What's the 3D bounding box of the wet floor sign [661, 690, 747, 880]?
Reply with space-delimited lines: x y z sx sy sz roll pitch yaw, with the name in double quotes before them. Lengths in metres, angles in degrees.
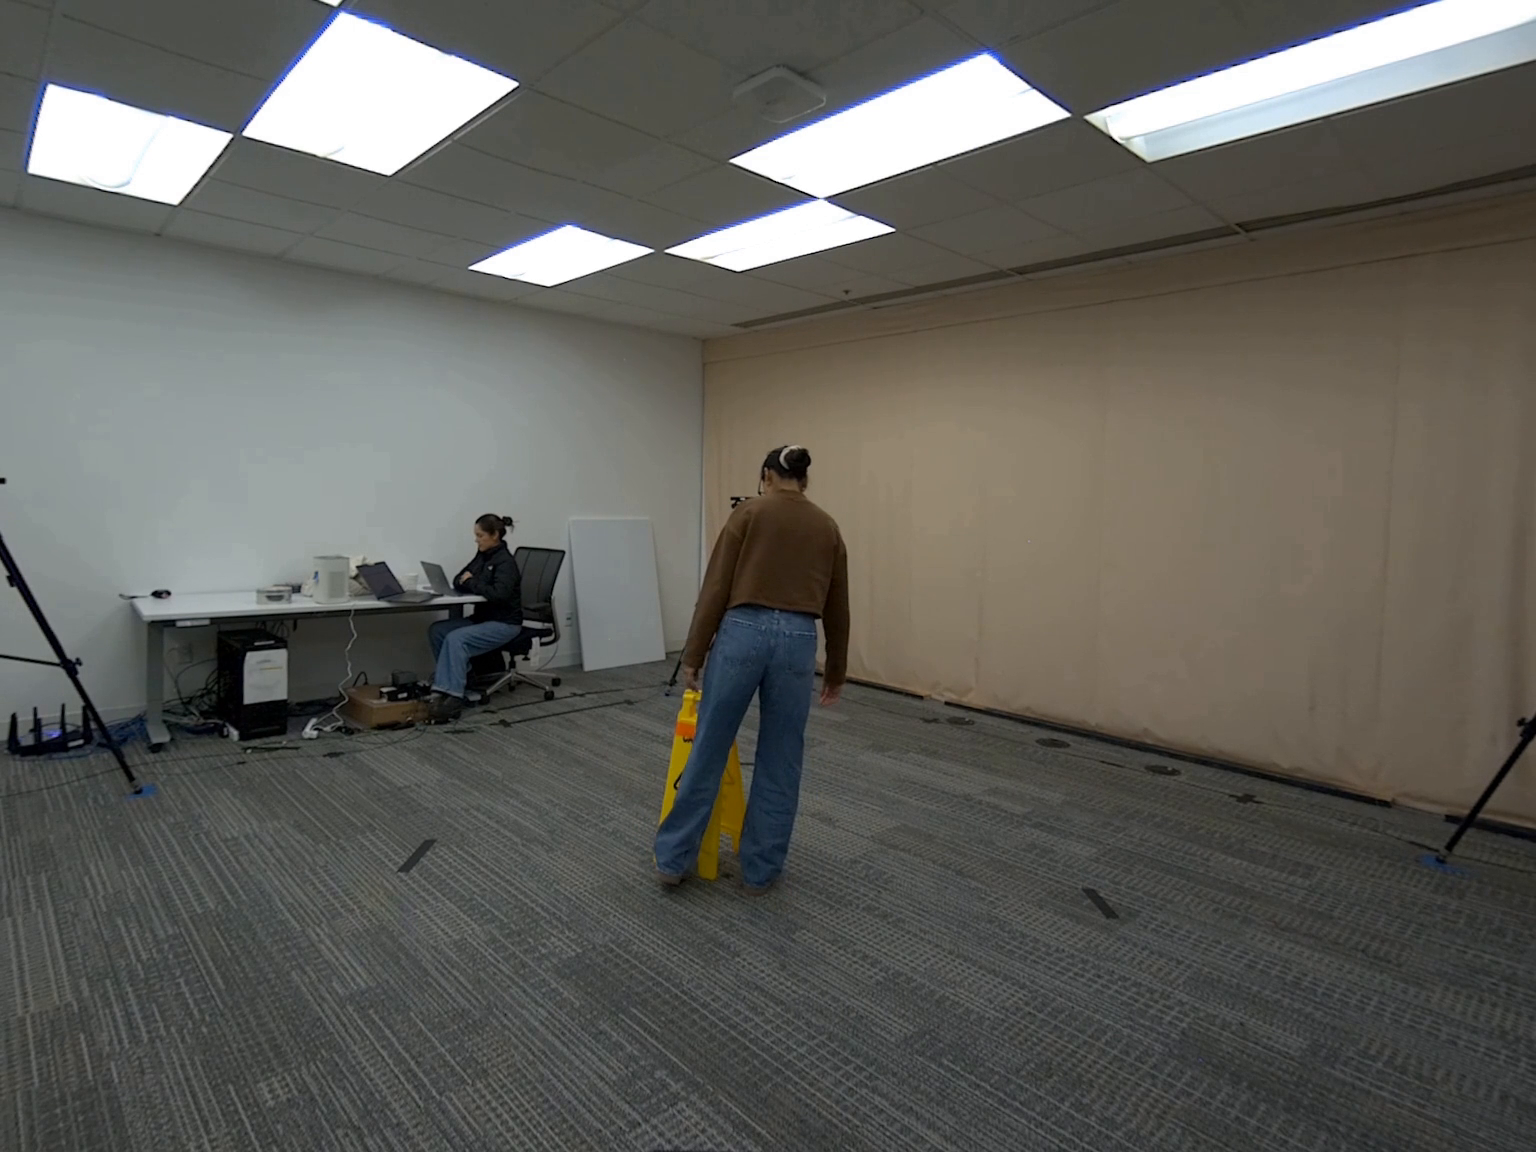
"wet floor sign" -0.253 0.772 3.234 0.288 0.645 0.284 3 3 27
